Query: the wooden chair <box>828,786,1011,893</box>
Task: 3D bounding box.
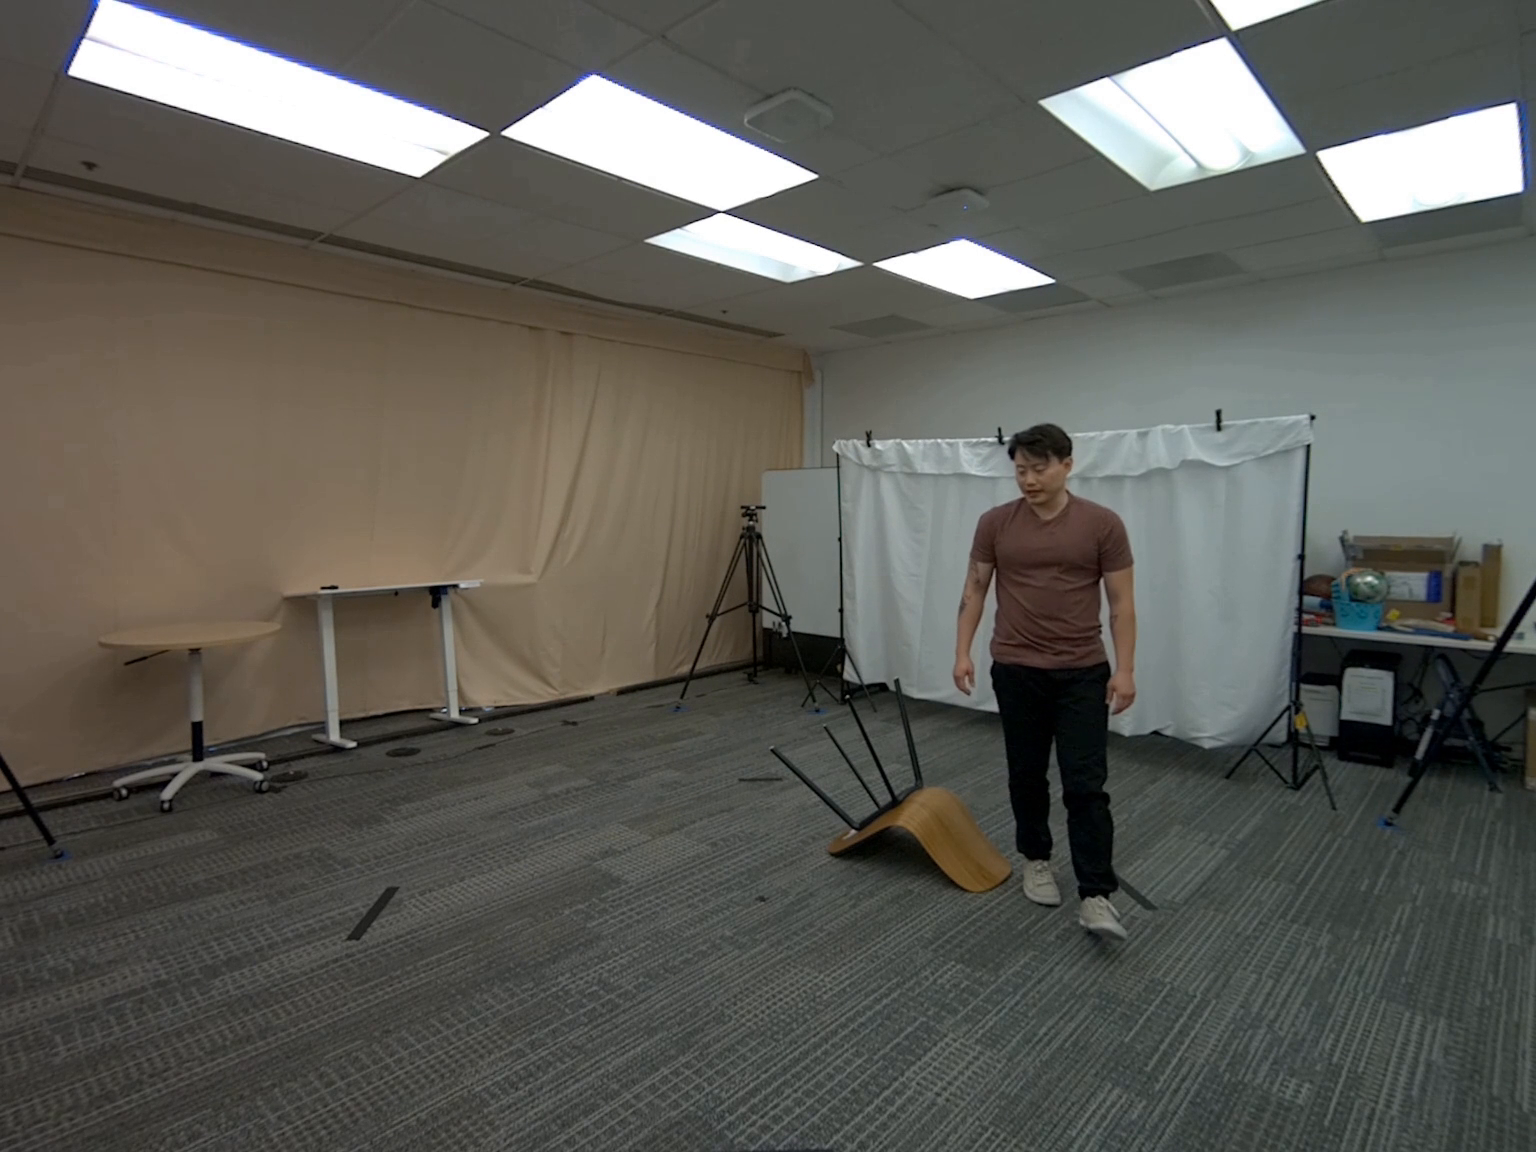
[{"bbox_3d":[0.492,0.935,3.412,0.527,0.897,0.464,-45,-22,28],"label":"wooden chair"}]
